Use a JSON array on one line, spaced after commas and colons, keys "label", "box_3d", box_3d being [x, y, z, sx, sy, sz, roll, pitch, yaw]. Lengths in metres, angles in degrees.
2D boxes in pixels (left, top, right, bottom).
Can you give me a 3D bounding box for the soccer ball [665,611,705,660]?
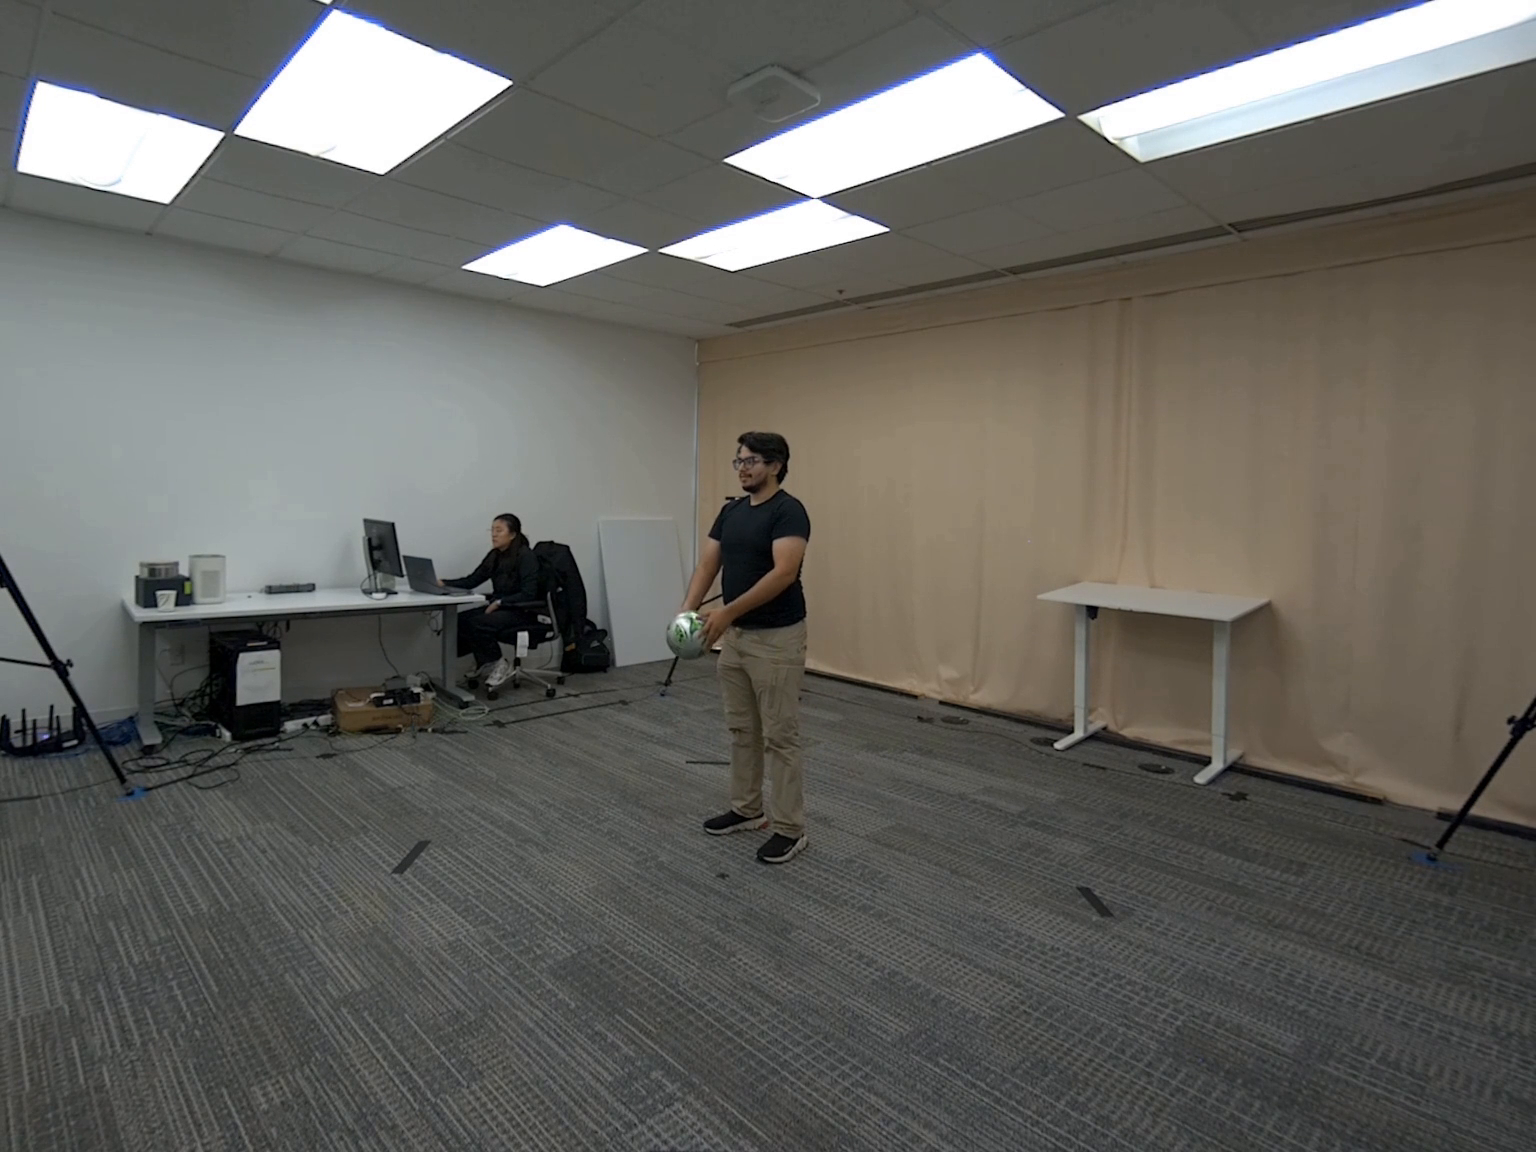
[{"label": "soccer ball", "box_3d": [-0.301, 0.223, 3.221, 0.187, 0.187, 0.188, 1, 4, -1]}]
